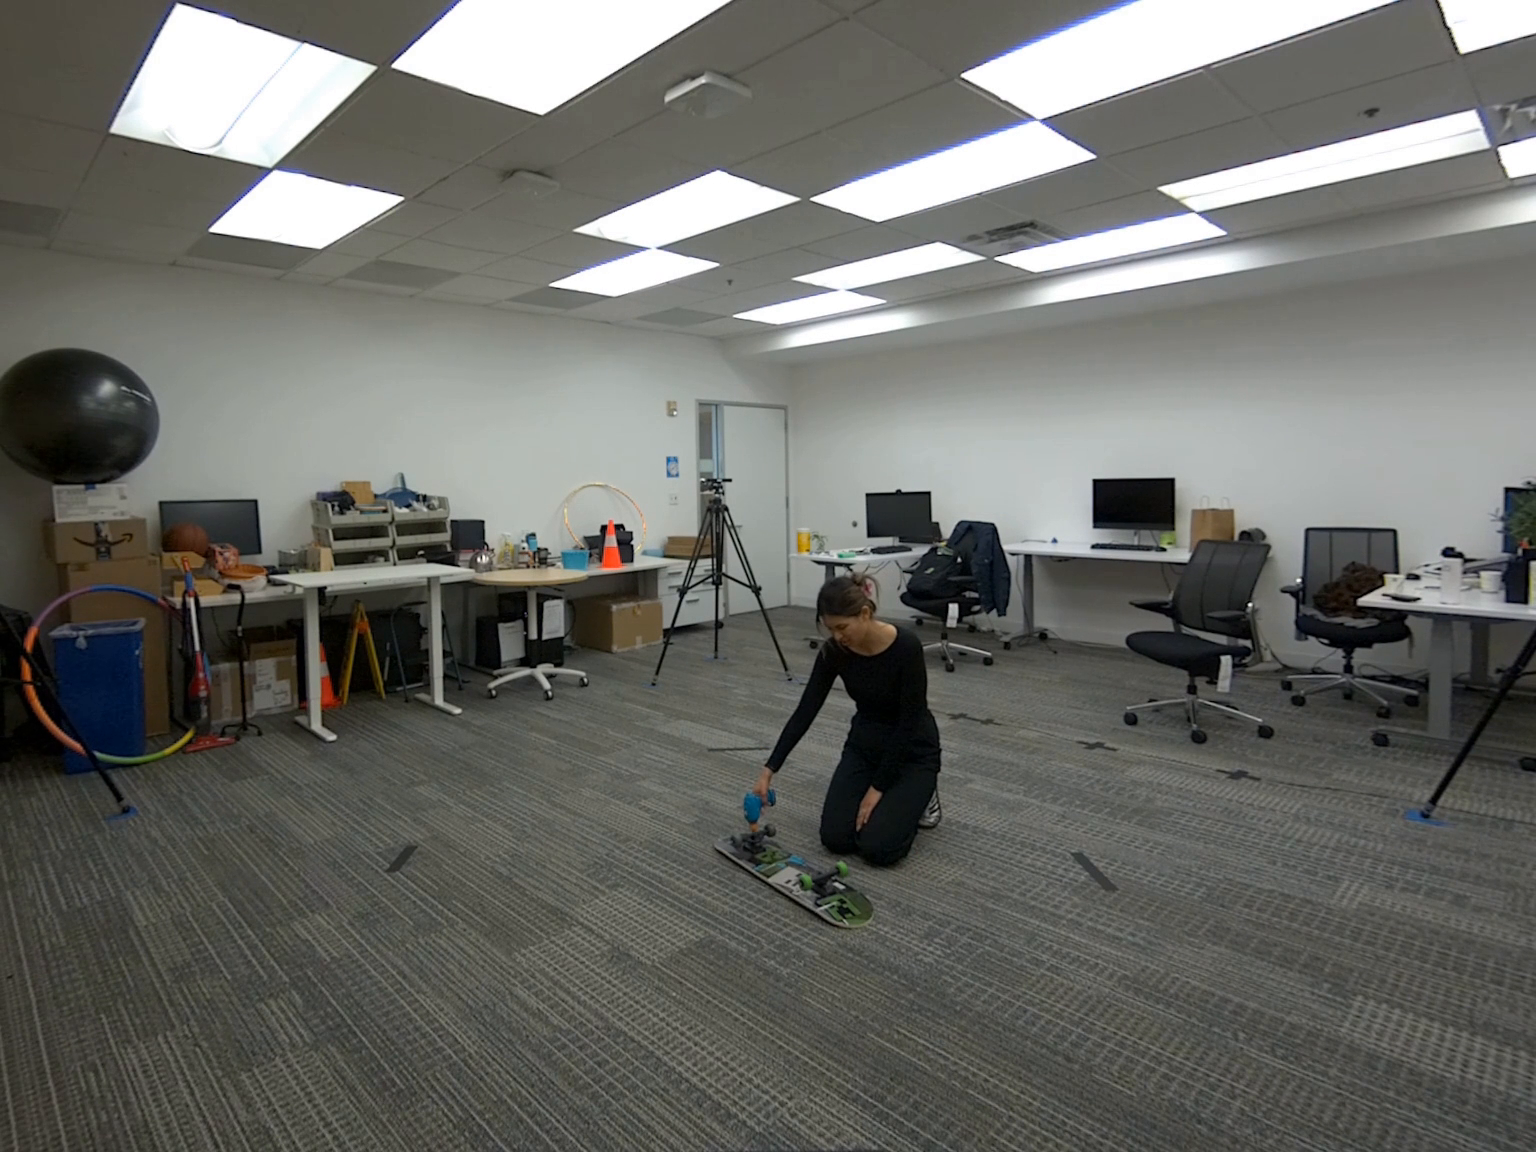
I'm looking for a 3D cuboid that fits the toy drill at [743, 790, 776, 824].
[{"bbox_3d":[-0.033,0.891,3.214,0.142,0.170,0.063,-8,0,-43],"label":"toy drill"}]
